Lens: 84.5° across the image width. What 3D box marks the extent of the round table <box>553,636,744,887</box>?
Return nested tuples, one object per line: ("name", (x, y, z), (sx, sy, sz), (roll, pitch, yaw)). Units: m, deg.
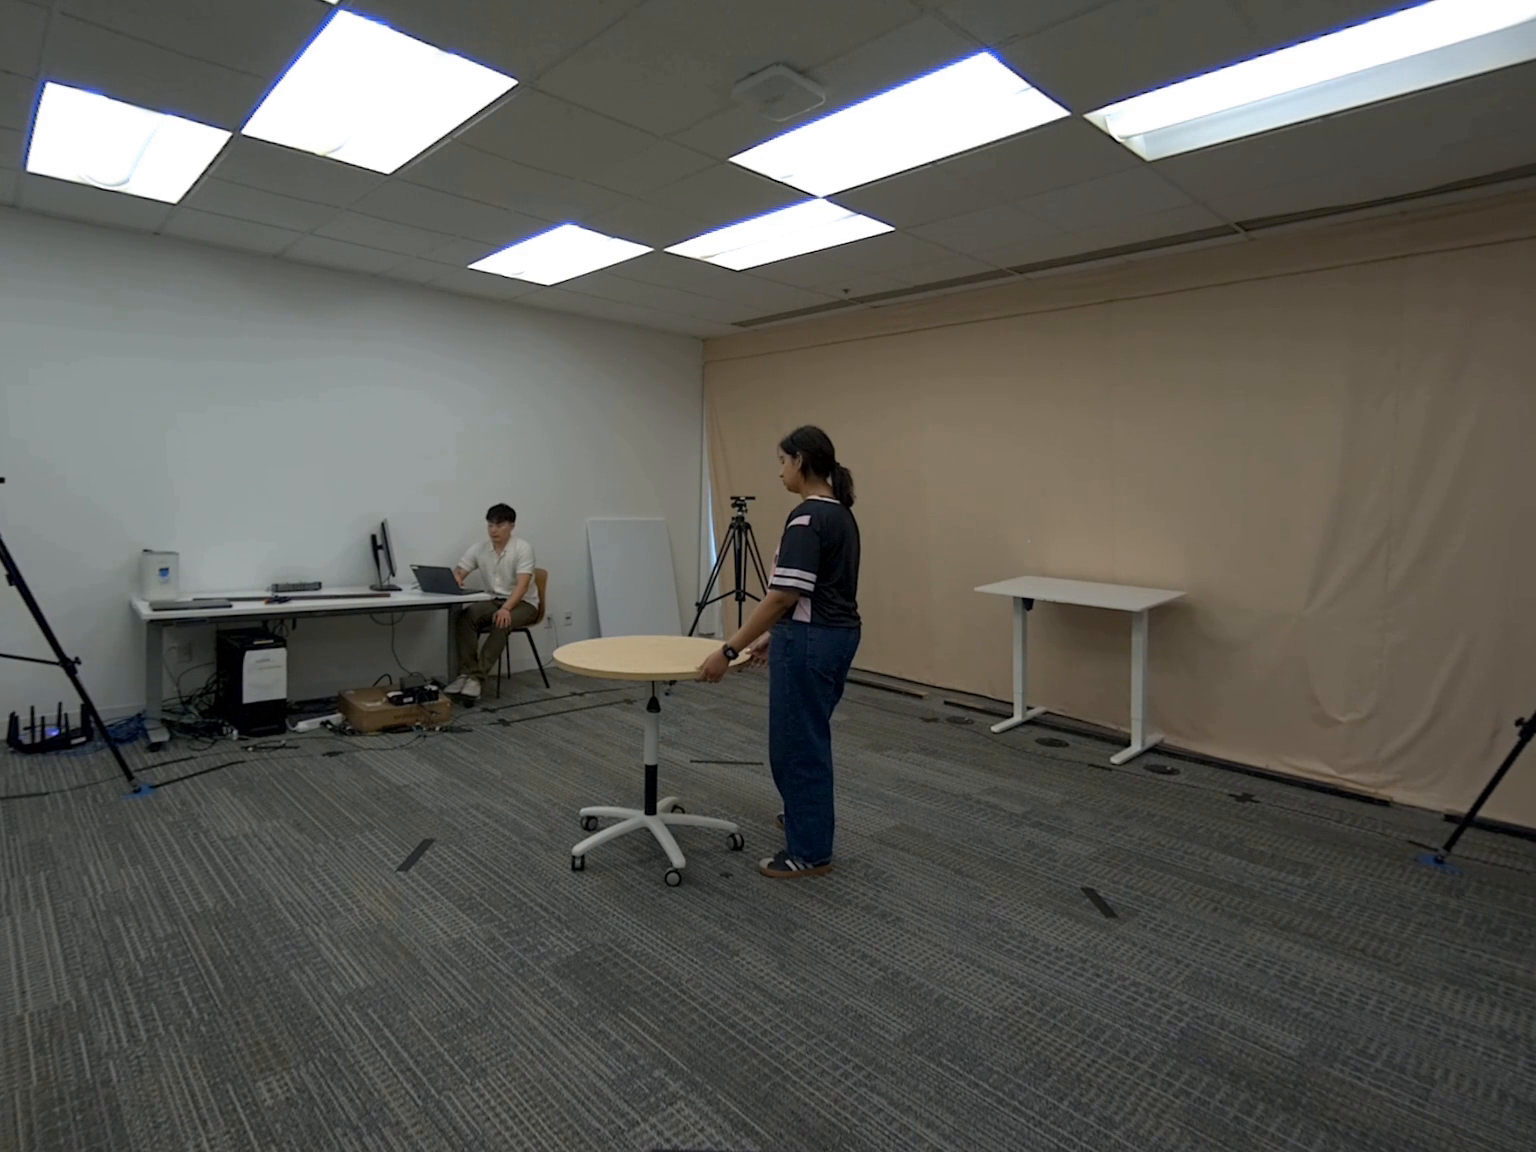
("round table", (-0.457, 0.688, 3.304), (0.763, 0.792, 0.767), (1, 4, -1))
